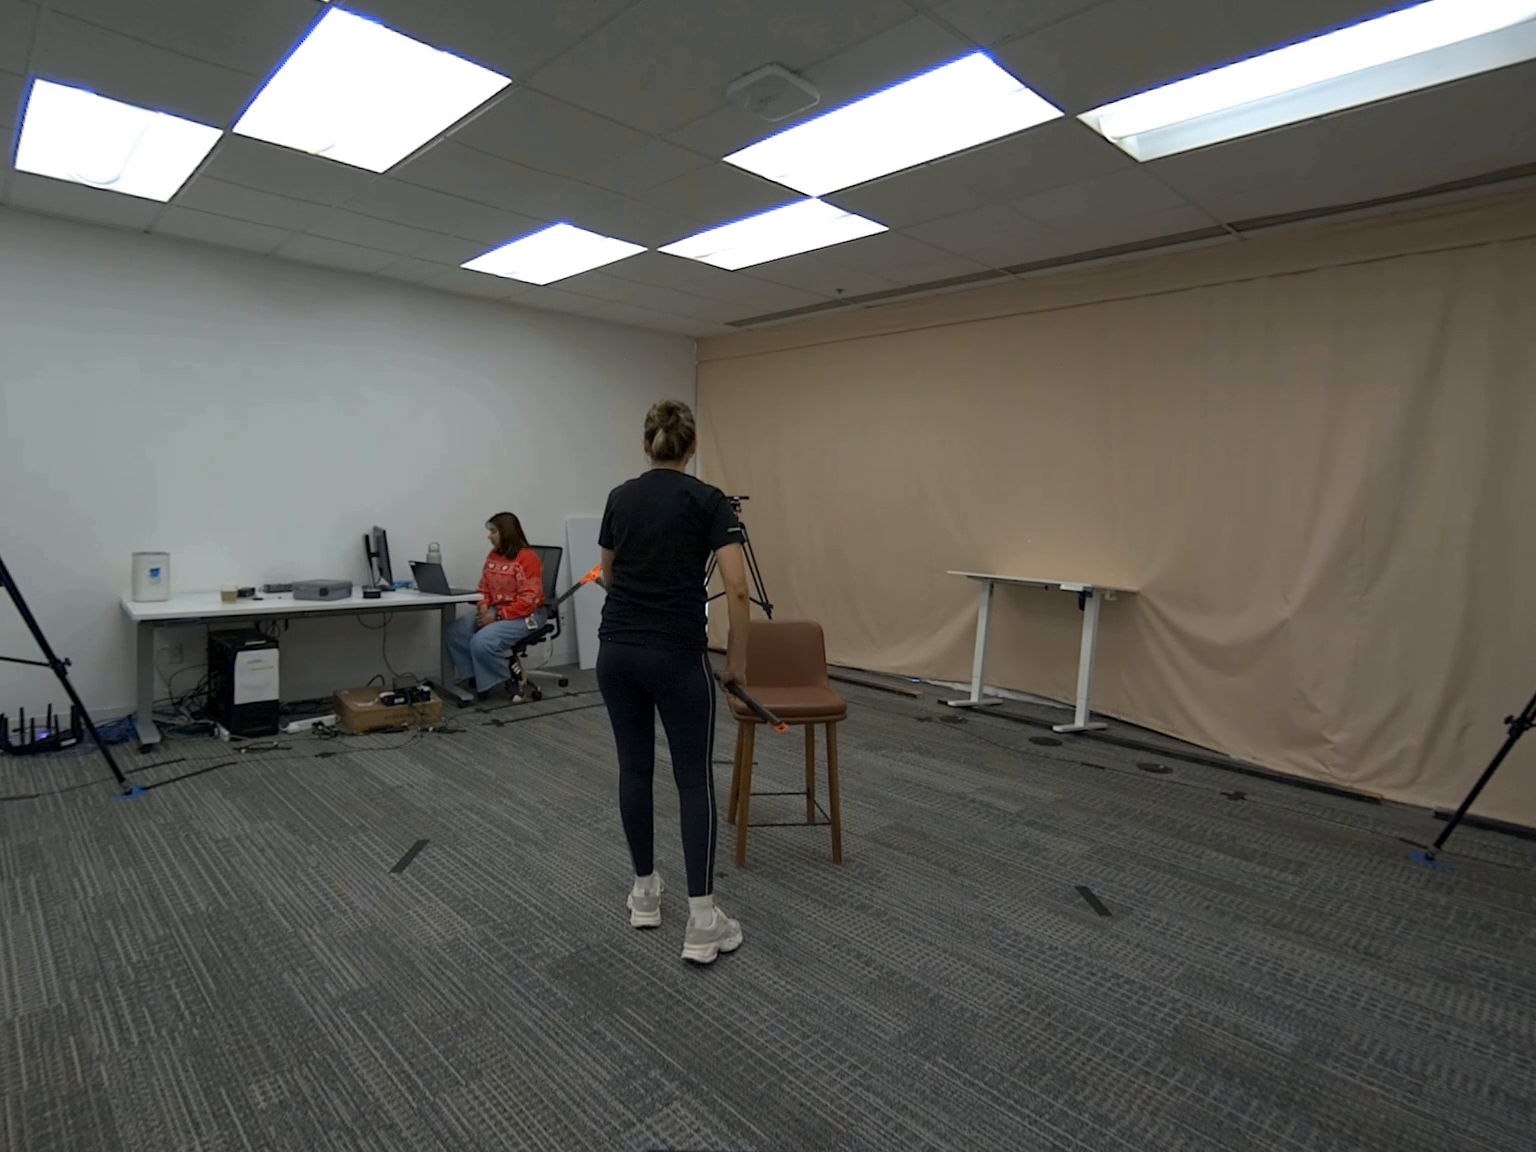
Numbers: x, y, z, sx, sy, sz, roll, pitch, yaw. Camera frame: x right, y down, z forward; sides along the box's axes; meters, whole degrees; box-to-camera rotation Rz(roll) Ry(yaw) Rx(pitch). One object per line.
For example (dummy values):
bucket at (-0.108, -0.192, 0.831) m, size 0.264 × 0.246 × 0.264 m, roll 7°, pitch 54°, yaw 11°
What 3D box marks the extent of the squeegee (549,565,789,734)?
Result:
squeegee at (-0.354, 0.216, 3.093) m, size 0.437 × 0.051 × 1.584 m, roll -44°, pitch 35°, yaw -14°
